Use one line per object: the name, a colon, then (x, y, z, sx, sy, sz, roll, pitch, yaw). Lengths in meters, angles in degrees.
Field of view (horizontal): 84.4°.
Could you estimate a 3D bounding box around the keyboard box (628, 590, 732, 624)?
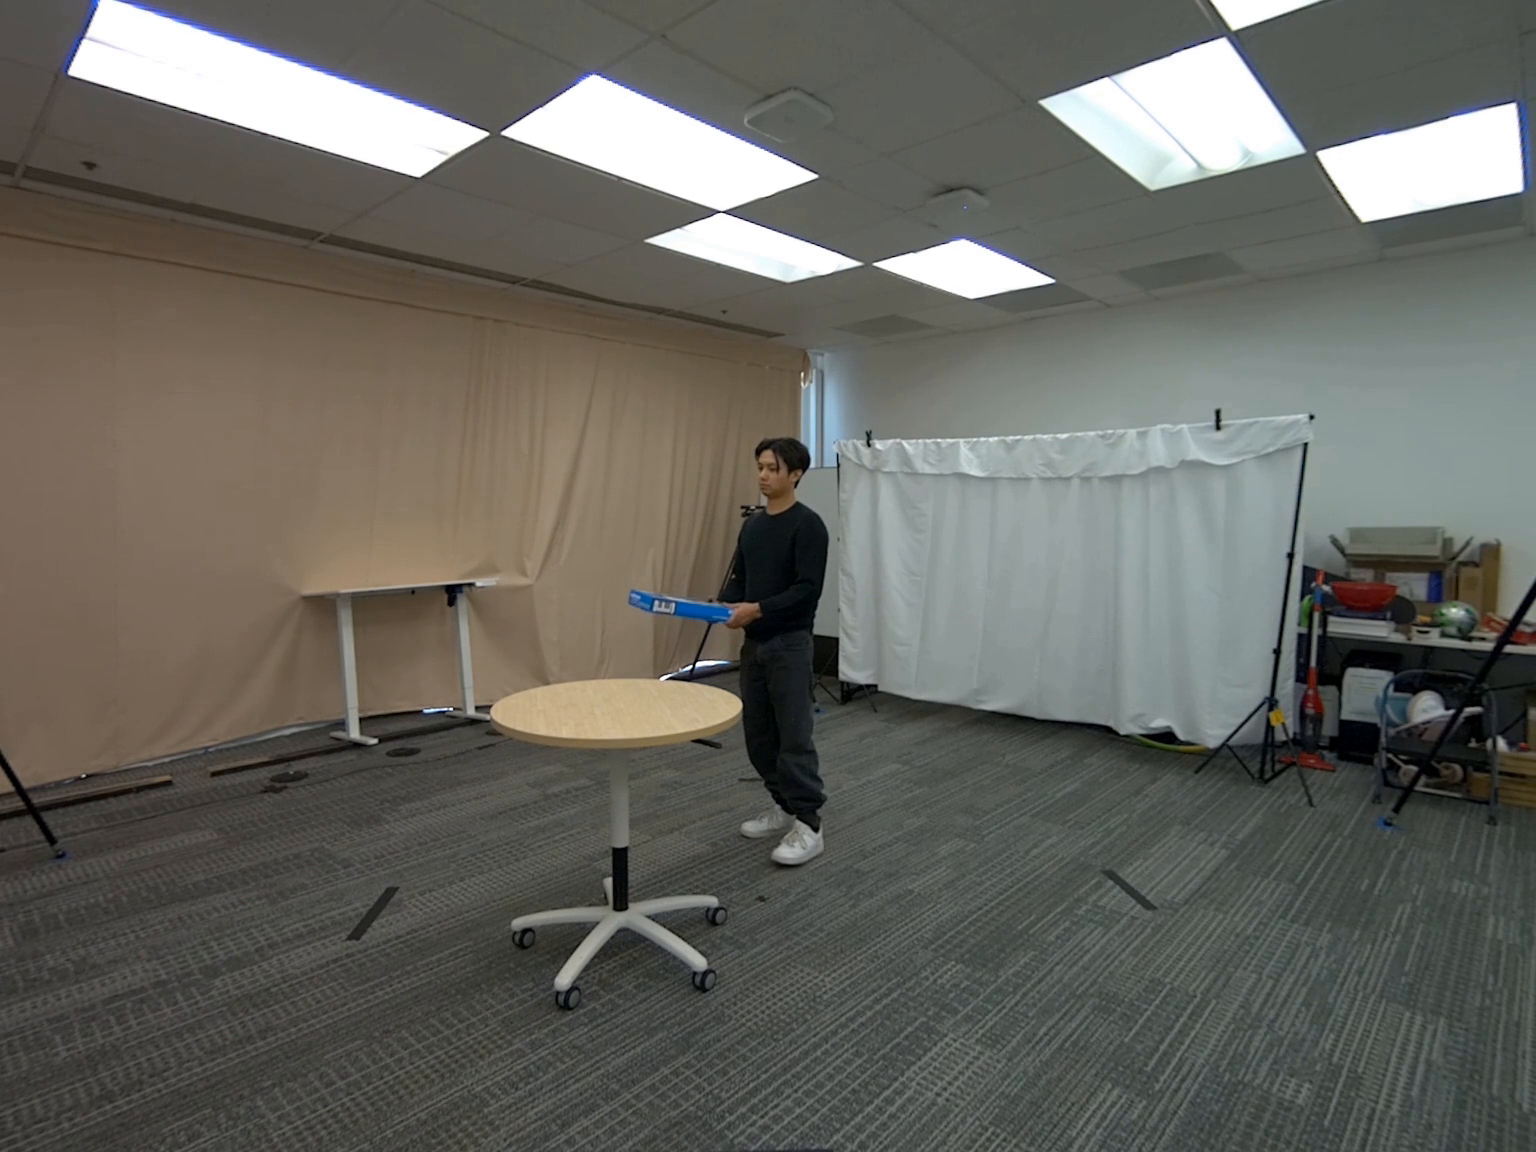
keyboard box: (-0.325, 0.125, 3.288, 0.422, 0.059, 0.182, 11, 2, -36)
